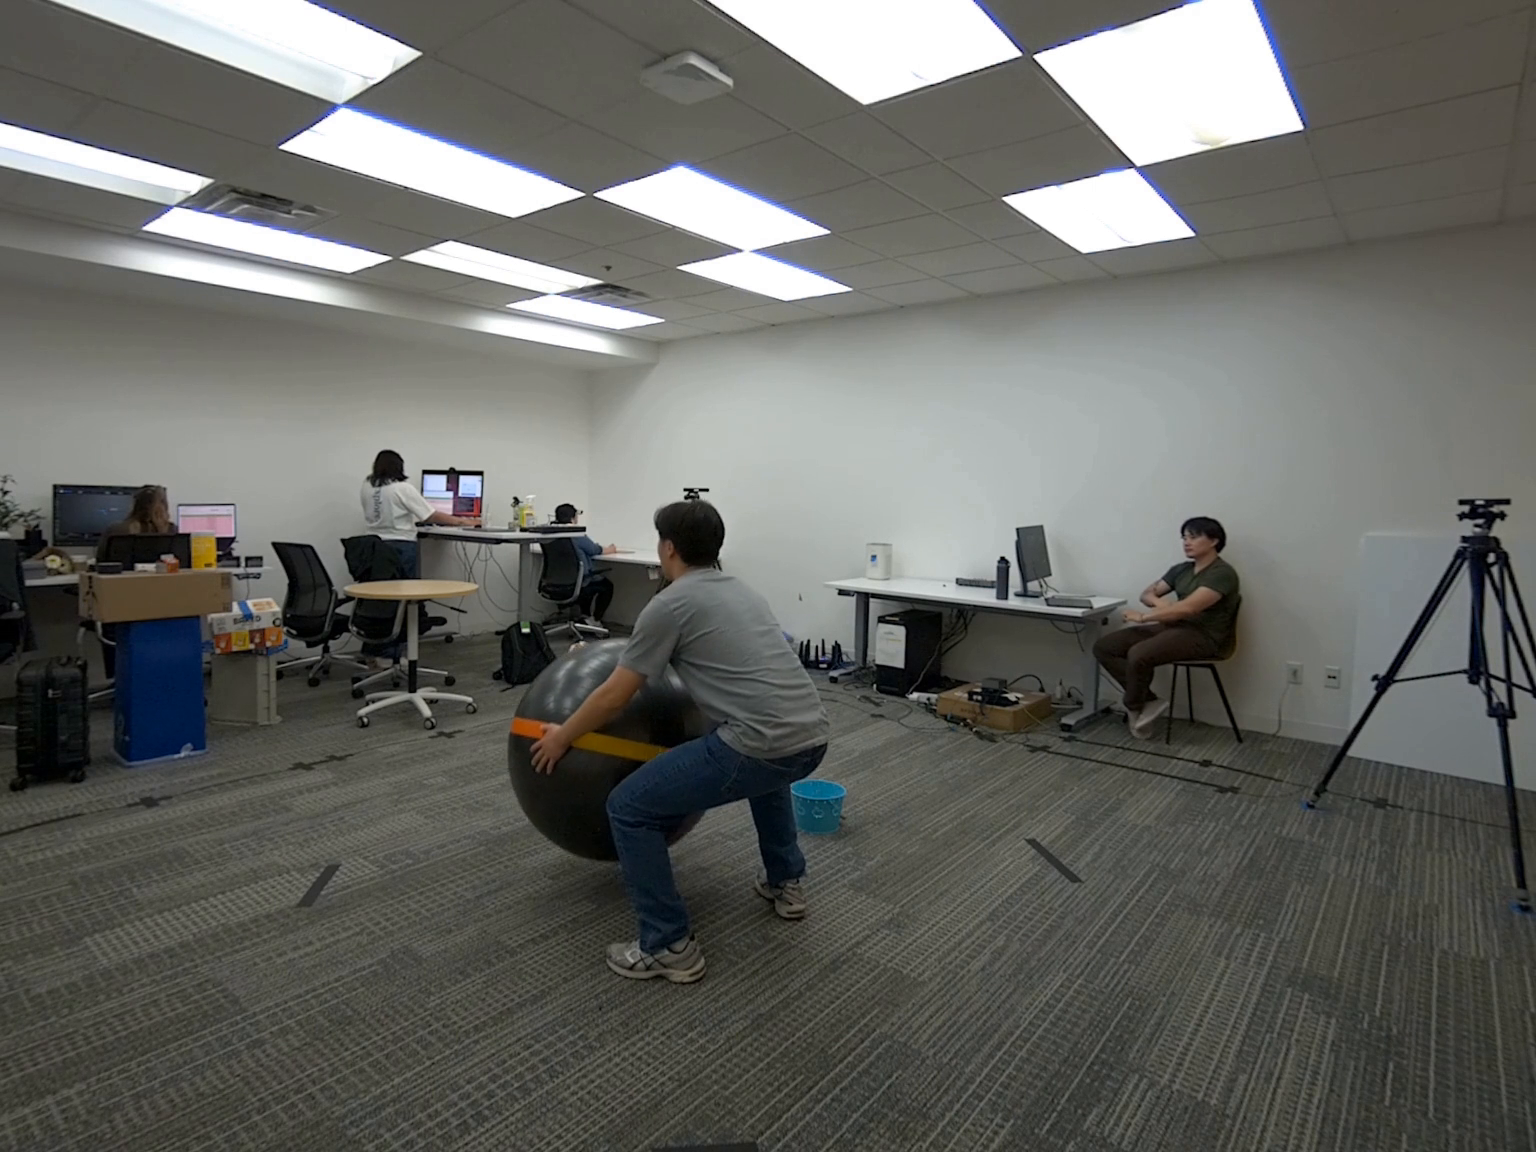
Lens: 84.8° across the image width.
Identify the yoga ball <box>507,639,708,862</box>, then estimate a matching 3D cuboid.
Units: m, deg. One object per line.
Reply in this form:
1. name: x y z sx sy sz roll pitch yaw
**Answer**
1. yoga ball: -0.556 0.576 3.008 0.757 0.755 0.762 1 4 -2
